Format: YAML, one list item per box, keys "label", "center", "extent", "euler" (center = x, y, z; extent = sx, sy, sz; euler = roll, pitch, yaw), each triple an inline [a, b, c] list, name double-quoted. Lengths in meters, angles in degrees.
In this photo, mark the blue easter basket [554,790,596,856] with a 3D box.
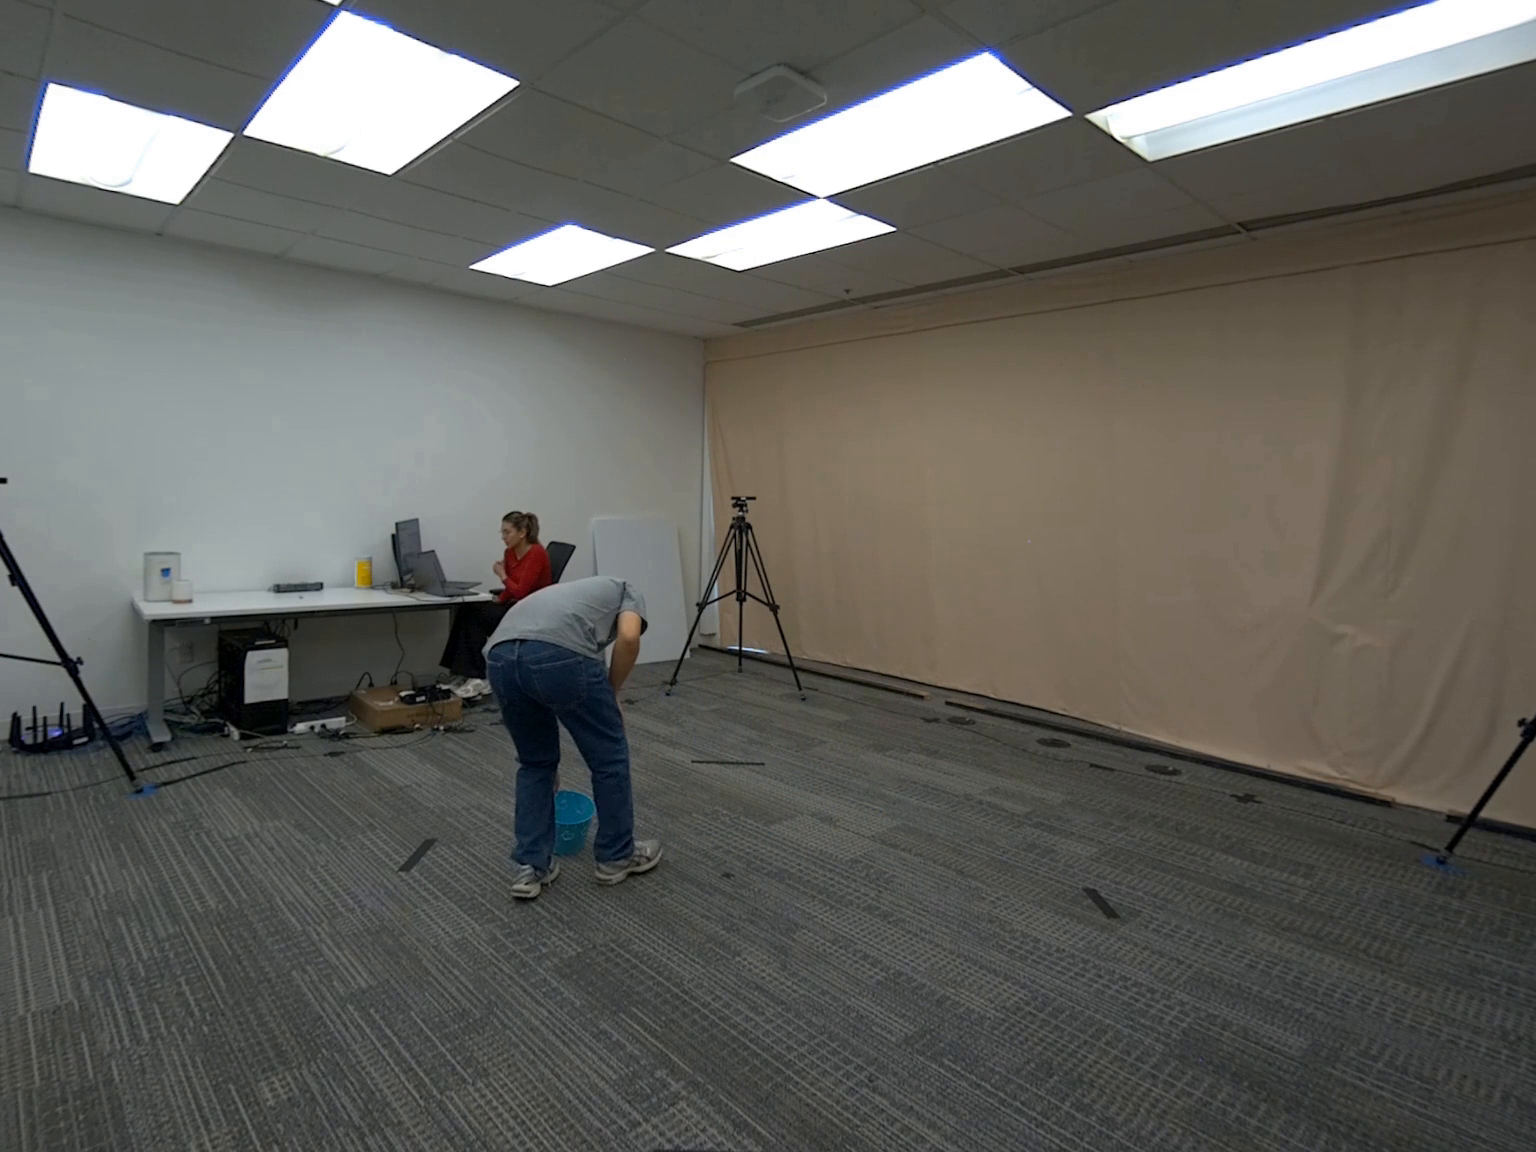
- label: "blue easter basket"
  center: [-0.802, 0.975, 3.316]
  extent: [0.243, 0.154, 0.246]
  euler: [8, 16, -4]
